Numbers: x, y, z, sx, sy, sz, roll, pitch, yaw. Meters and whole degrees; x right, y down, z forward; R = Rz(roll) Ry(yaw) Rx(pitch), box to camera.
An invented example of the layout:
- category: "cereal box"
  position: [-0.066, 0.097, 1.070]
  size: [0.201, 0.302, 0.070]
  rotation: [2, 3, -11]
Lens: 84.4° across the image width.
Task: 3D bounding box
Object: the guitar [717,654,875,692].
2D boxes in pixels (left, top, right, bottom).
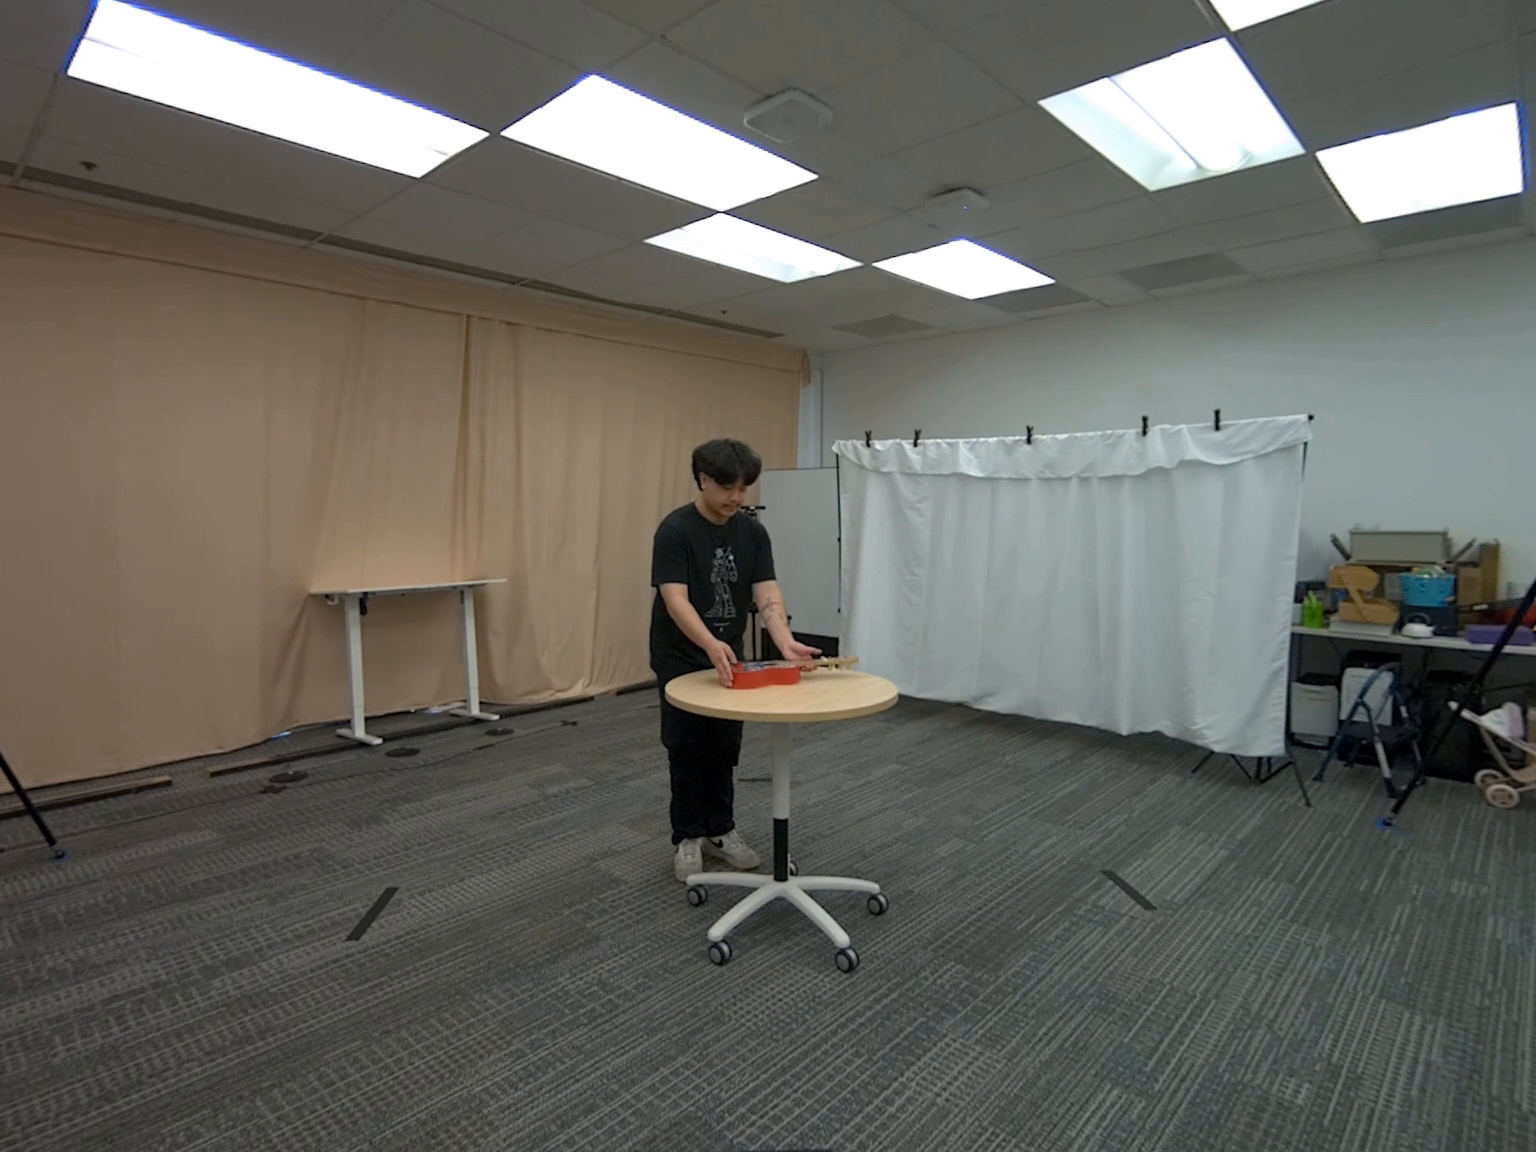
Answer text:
- category: "guitar"
  position: [0.085, 0.321, 2.840]
  size: [0.495, 0.070, 0.194]
  rotation: [-2, 3, -6]
